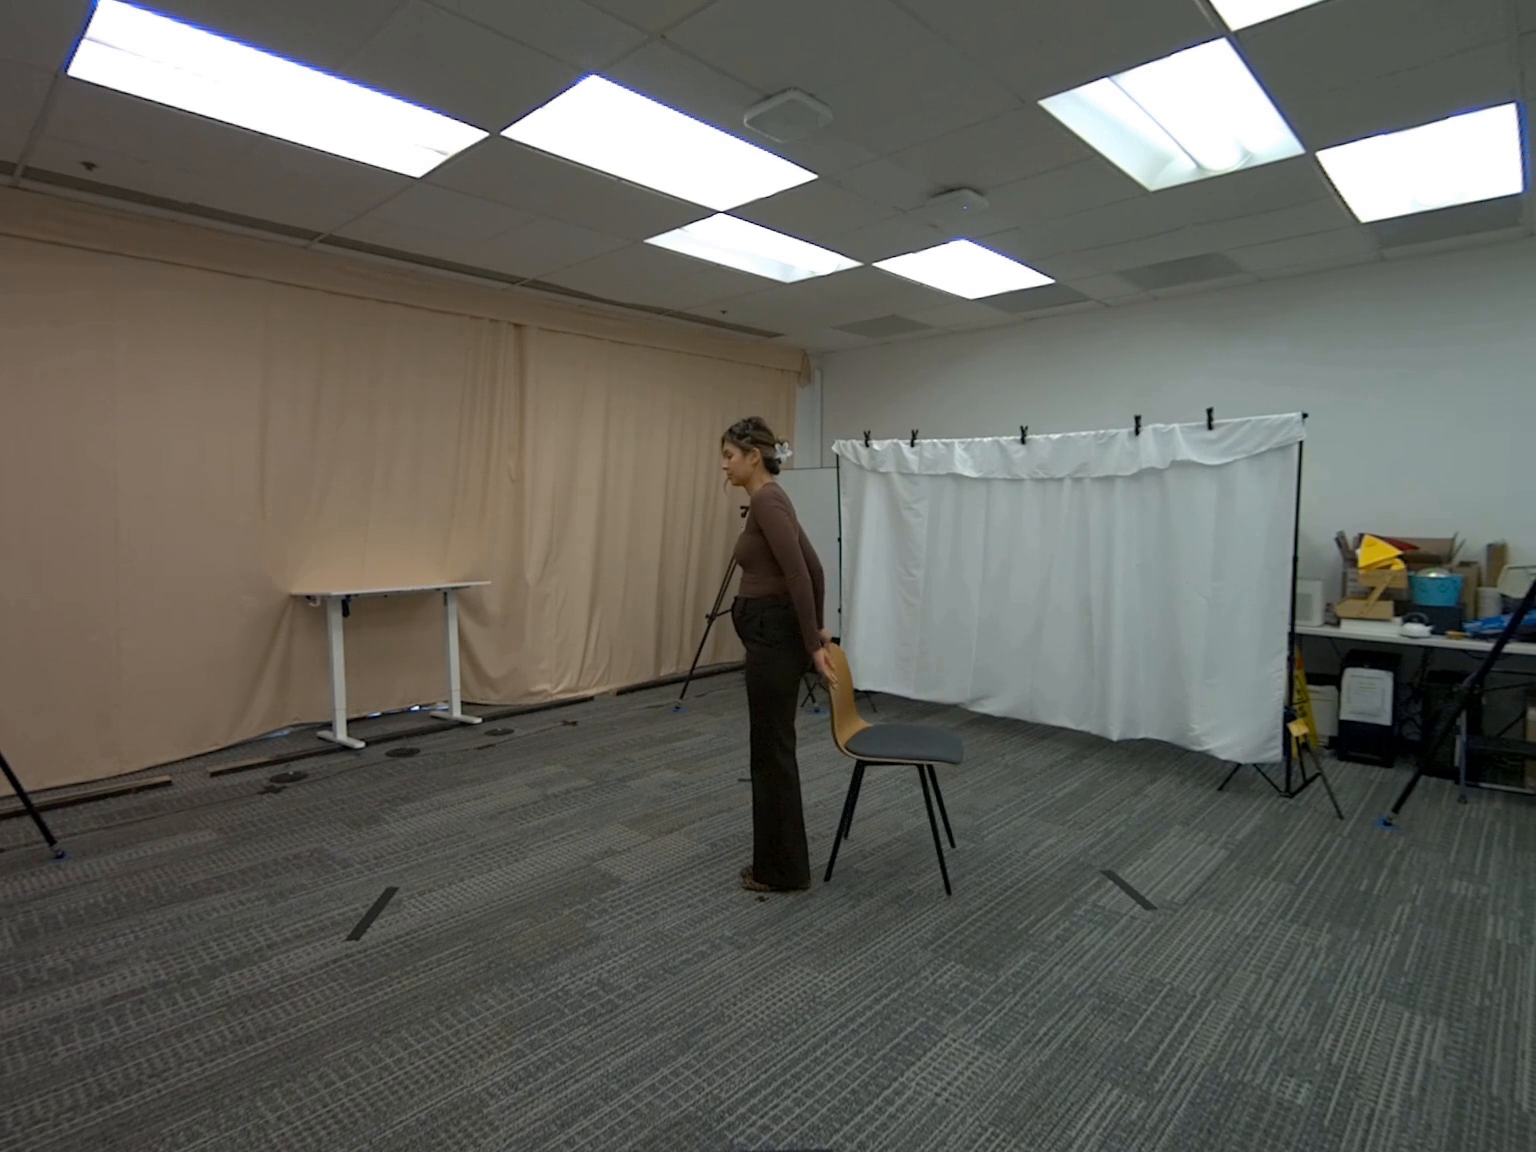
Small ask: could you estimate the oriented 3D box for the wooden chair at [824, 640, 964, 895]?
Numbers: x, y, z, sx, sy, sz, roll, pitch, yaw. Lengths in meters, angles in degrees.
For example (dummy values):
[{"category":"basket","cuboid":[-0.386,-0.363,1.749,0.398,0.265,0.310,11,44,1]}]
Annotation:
[{"category":"wooden chair","cuboid":[0.480,0.690,3.230,0.532,0.877,0.470,-5,1,16]}]
